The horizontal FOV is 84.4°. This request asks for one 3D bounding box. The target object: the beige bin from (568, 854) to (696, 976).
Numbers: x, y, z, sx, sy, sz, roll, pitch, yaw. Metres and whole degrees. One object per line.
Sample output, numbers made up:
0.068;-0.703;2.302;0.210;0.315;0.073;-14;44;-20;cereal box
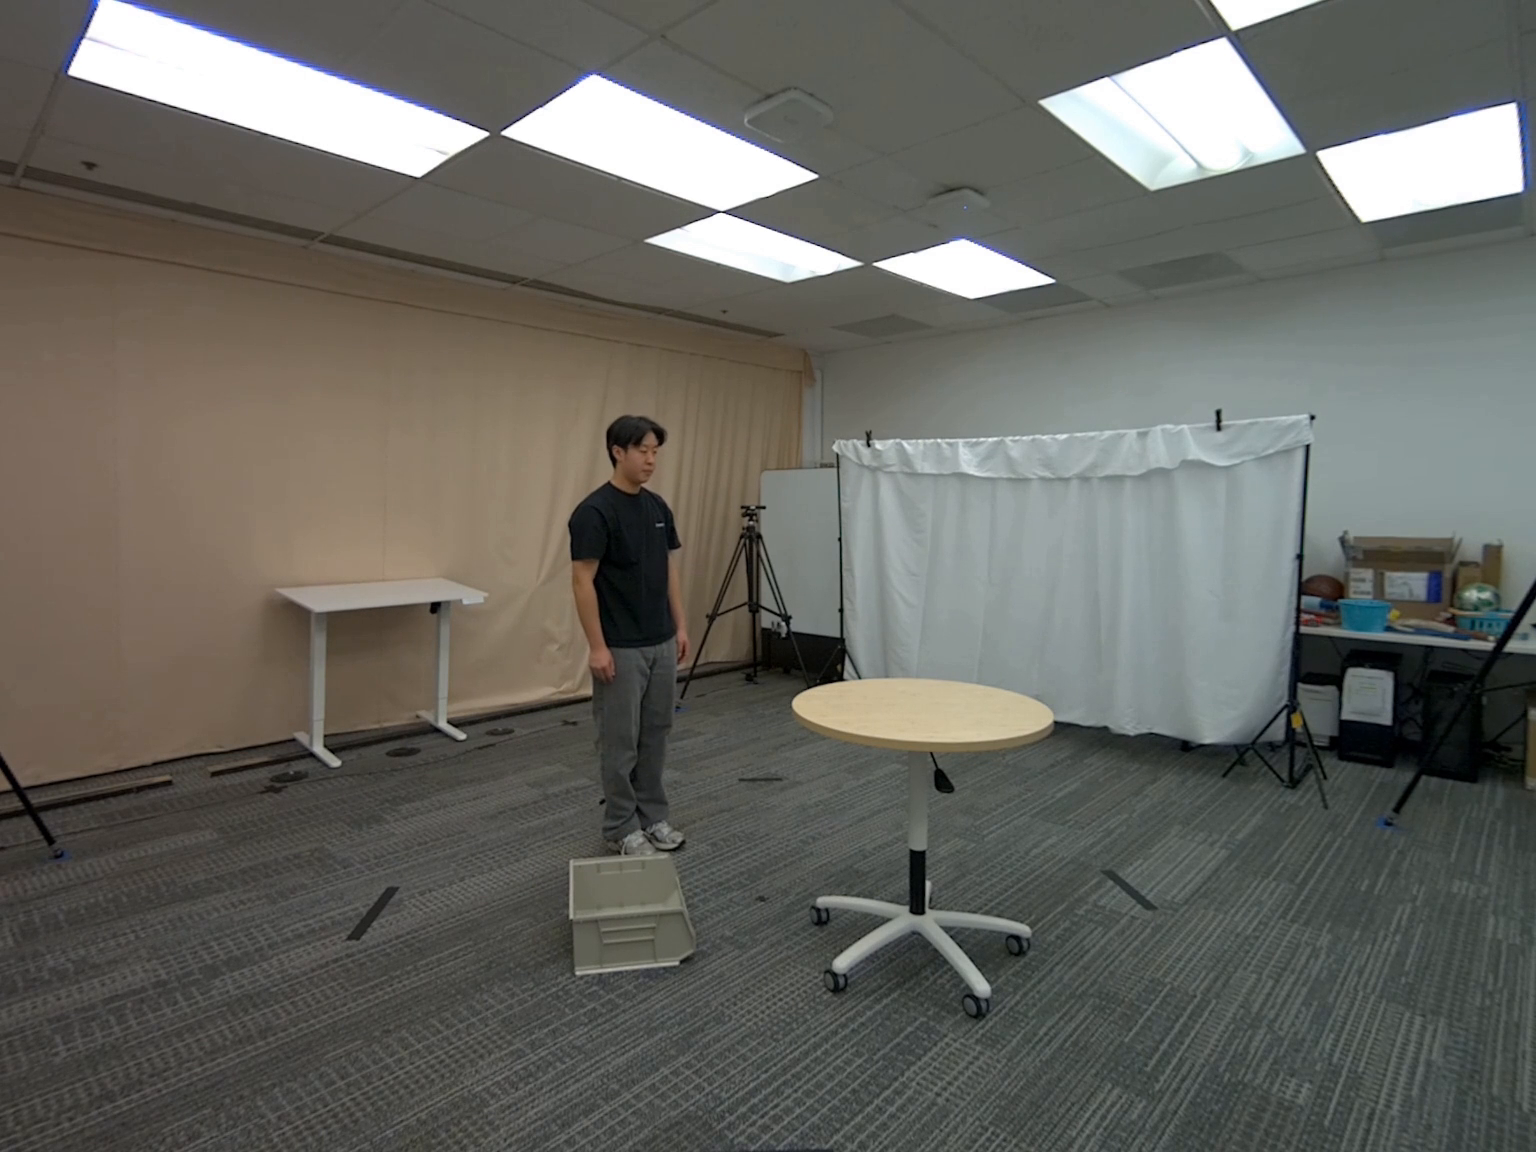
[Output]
-0.443;1.083;2.722;0.373;0.188;0.429;-2;6;-13;beige bin
